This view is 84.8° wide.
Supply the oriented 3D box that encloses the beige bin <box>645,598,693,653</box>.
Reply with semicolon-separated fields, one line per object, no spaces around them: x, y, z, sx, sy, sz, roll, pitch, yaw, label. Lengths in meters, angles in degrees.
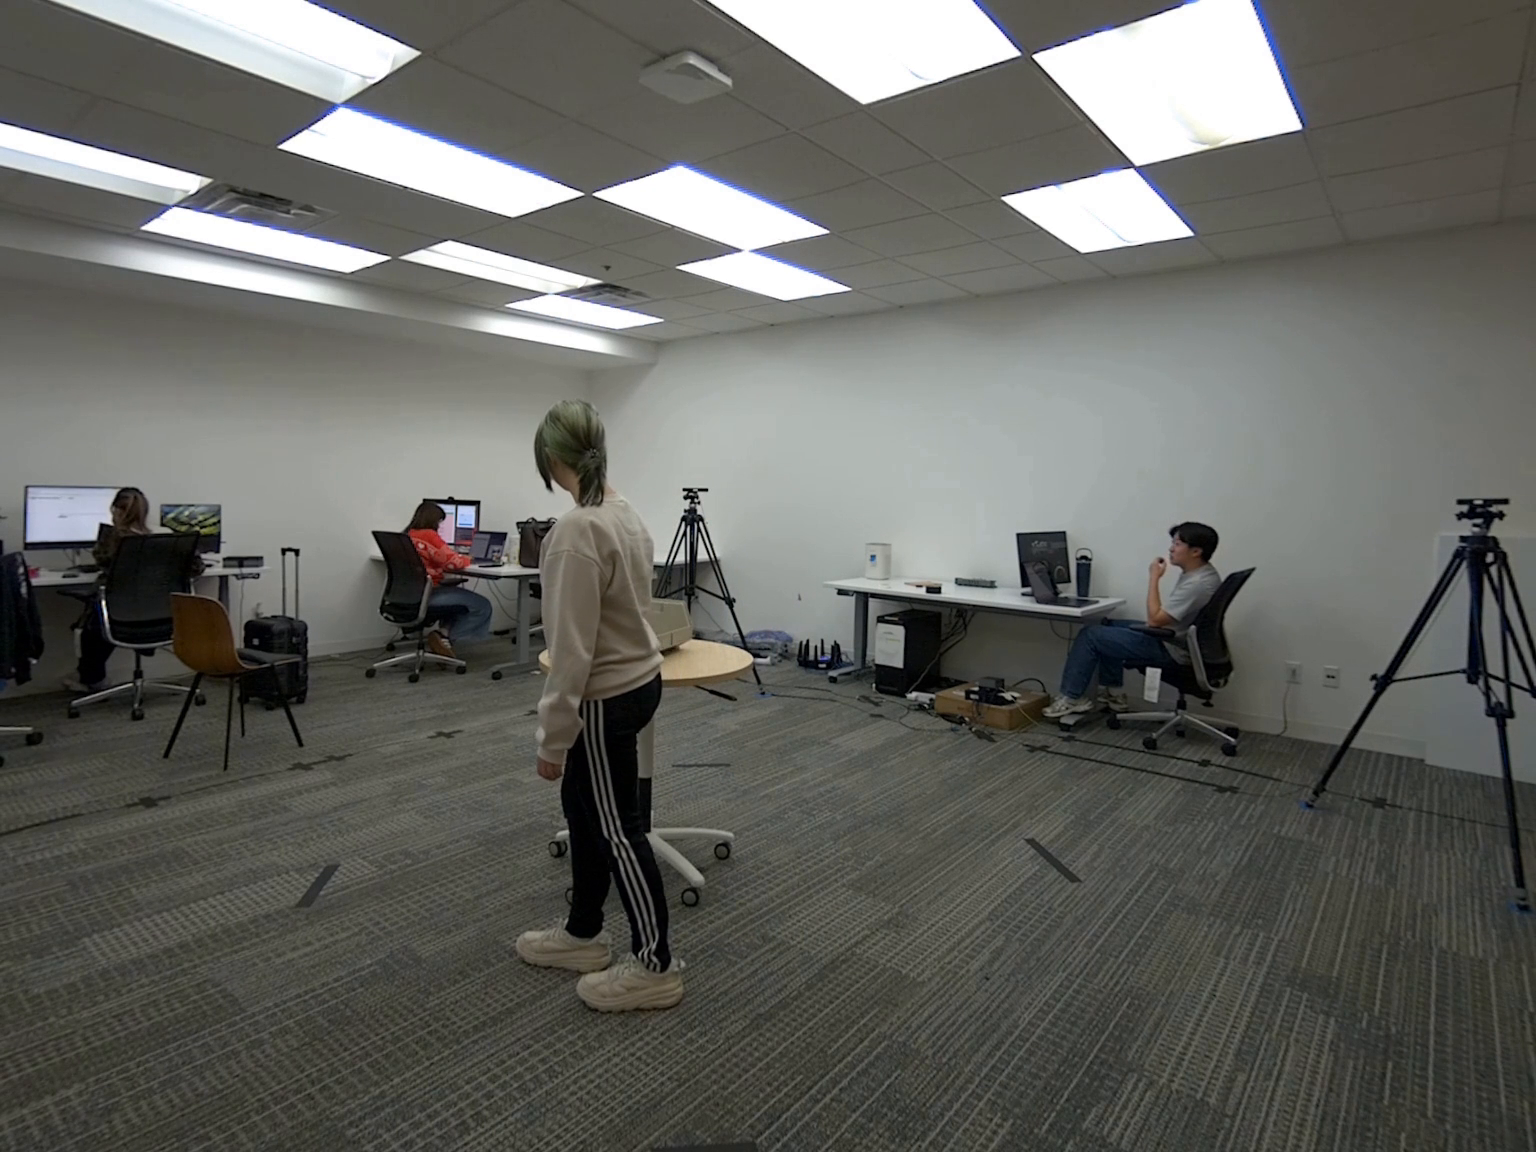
-0.543;0.185;3.095;0.387;0.188;0.413;2;5;24;beige bin
